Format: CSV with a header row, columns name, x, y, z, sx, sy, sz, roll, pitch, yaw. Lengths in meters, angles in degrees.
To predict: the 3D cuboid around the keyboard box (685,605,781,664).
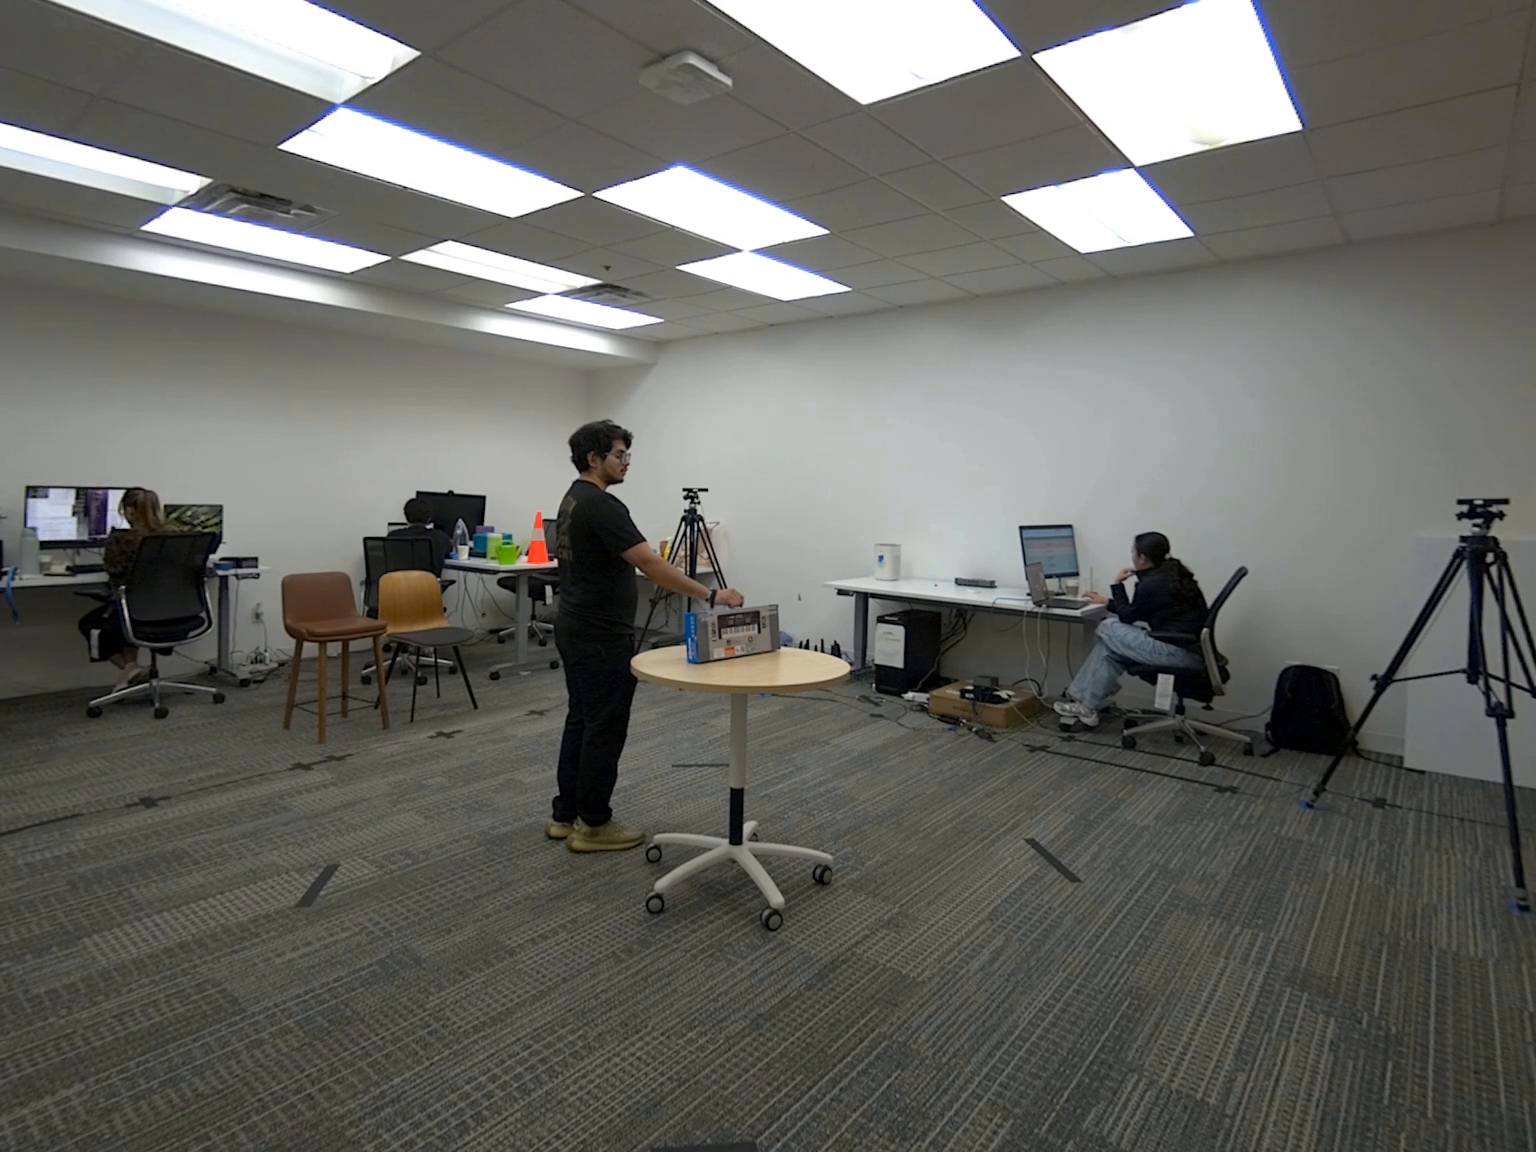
name,x,y,z,sx,sy,sz,roll,pitch,yaw
keyboard box,-0.128,0.204,3.094,0.061,0.176,0.423,-4,0,43
